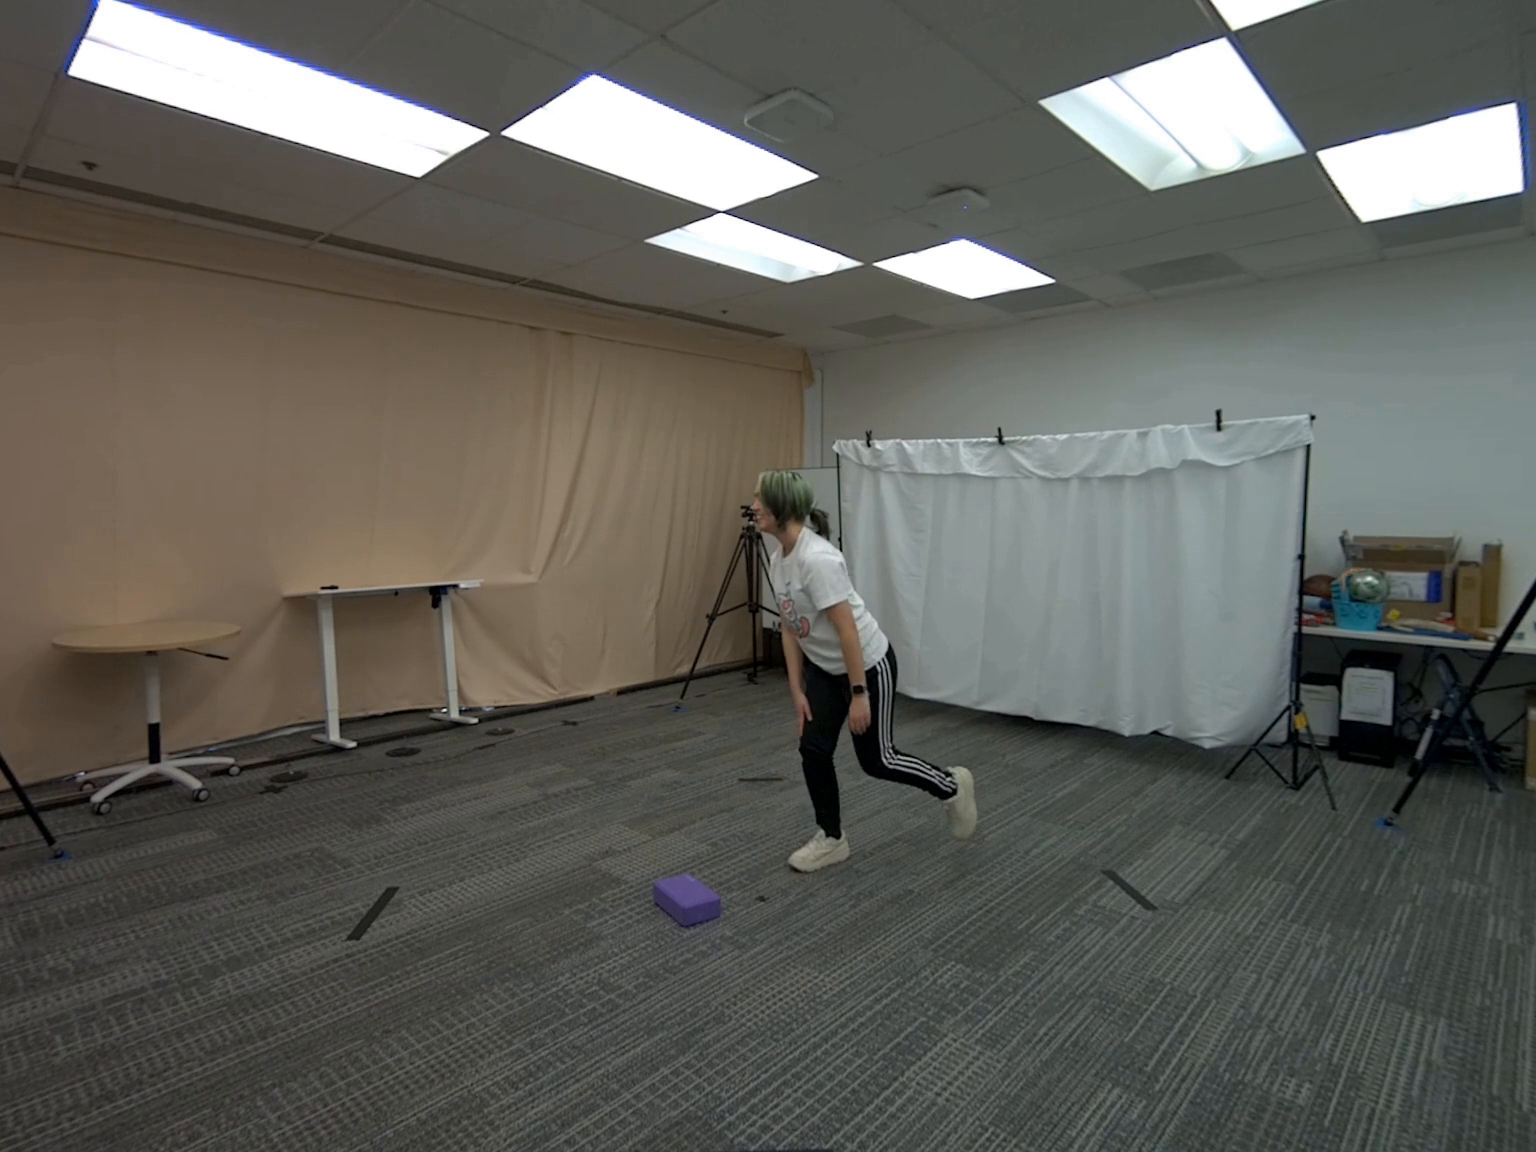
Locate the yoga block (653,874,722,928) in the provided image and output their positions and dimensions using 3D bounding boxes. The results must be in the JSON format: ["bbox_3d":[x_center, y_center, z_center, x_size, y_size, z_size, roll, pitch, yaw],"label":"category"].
[{"bbox_3d":[-0.282,1.115,2.902,0.145,0.076,0.236,-3,7,-33],"label":"yoga block"}]
